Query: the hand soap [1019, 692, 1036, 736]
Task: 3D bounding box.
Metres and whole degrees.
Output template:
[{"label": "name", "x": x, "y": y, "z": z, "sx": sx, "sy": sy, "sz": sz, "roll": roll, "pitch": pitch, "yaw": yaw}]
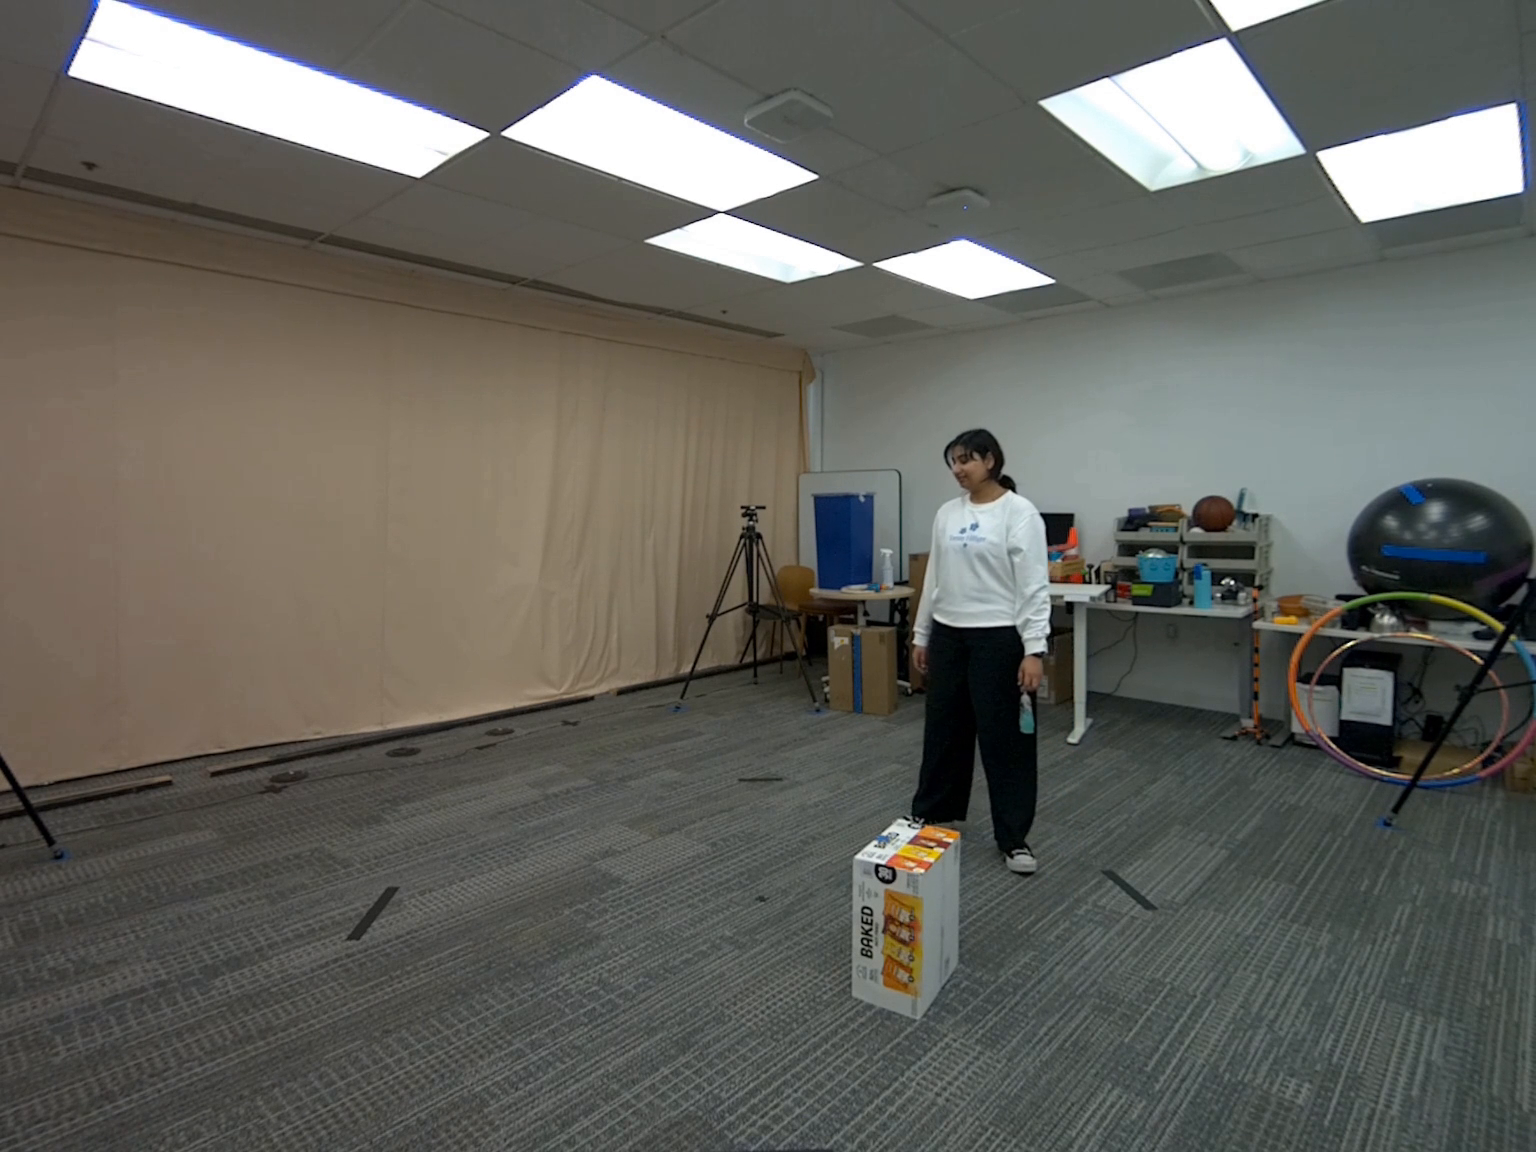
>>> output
[{"label": "hand soap", "x": 0.979, "y": 0.497, "z": 3.137, "sx": 0.043, "sy": 0.168, "sz": 0.085, "roll": -2, "pitch": 4, "yaw": -3}]
